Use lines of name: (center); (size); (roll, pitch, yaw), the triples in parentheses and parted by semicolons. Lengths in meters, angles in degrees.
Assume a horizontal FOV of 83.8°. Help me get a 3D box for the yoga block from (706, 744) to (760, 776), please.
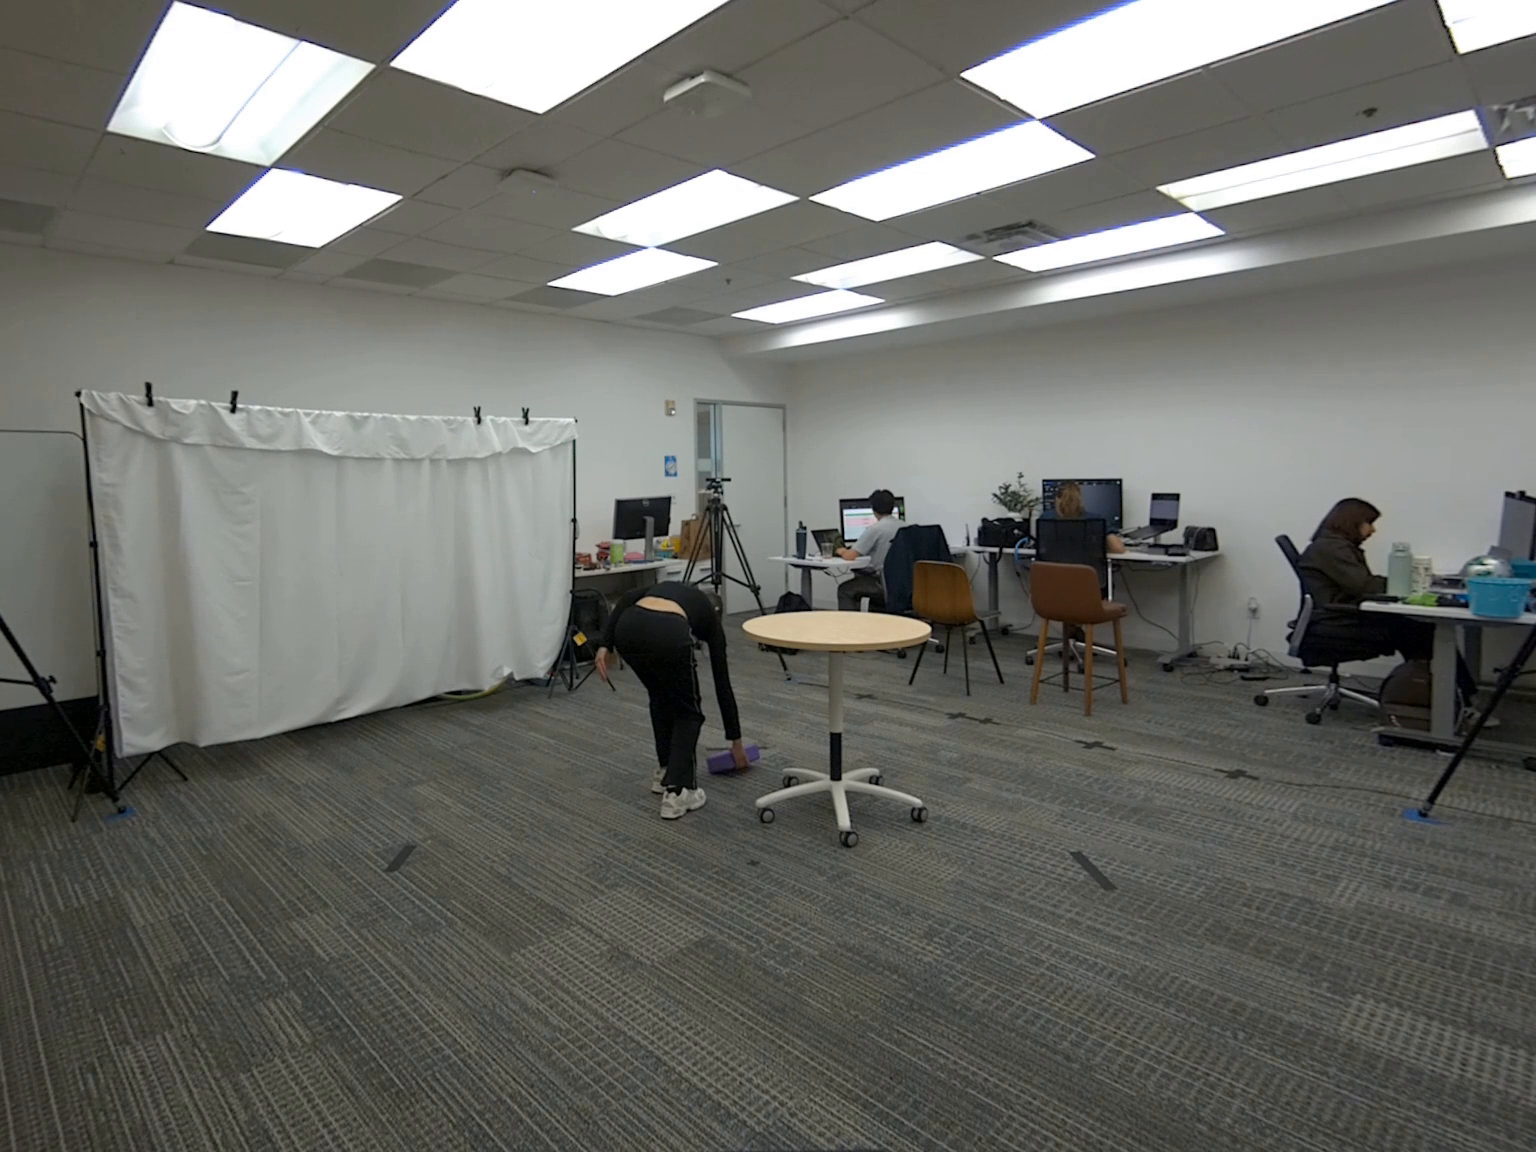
yoga block: (-0.168, 0.873, 4.115); (0.152, 0.077, 0.223); (-15, -7, 38)
